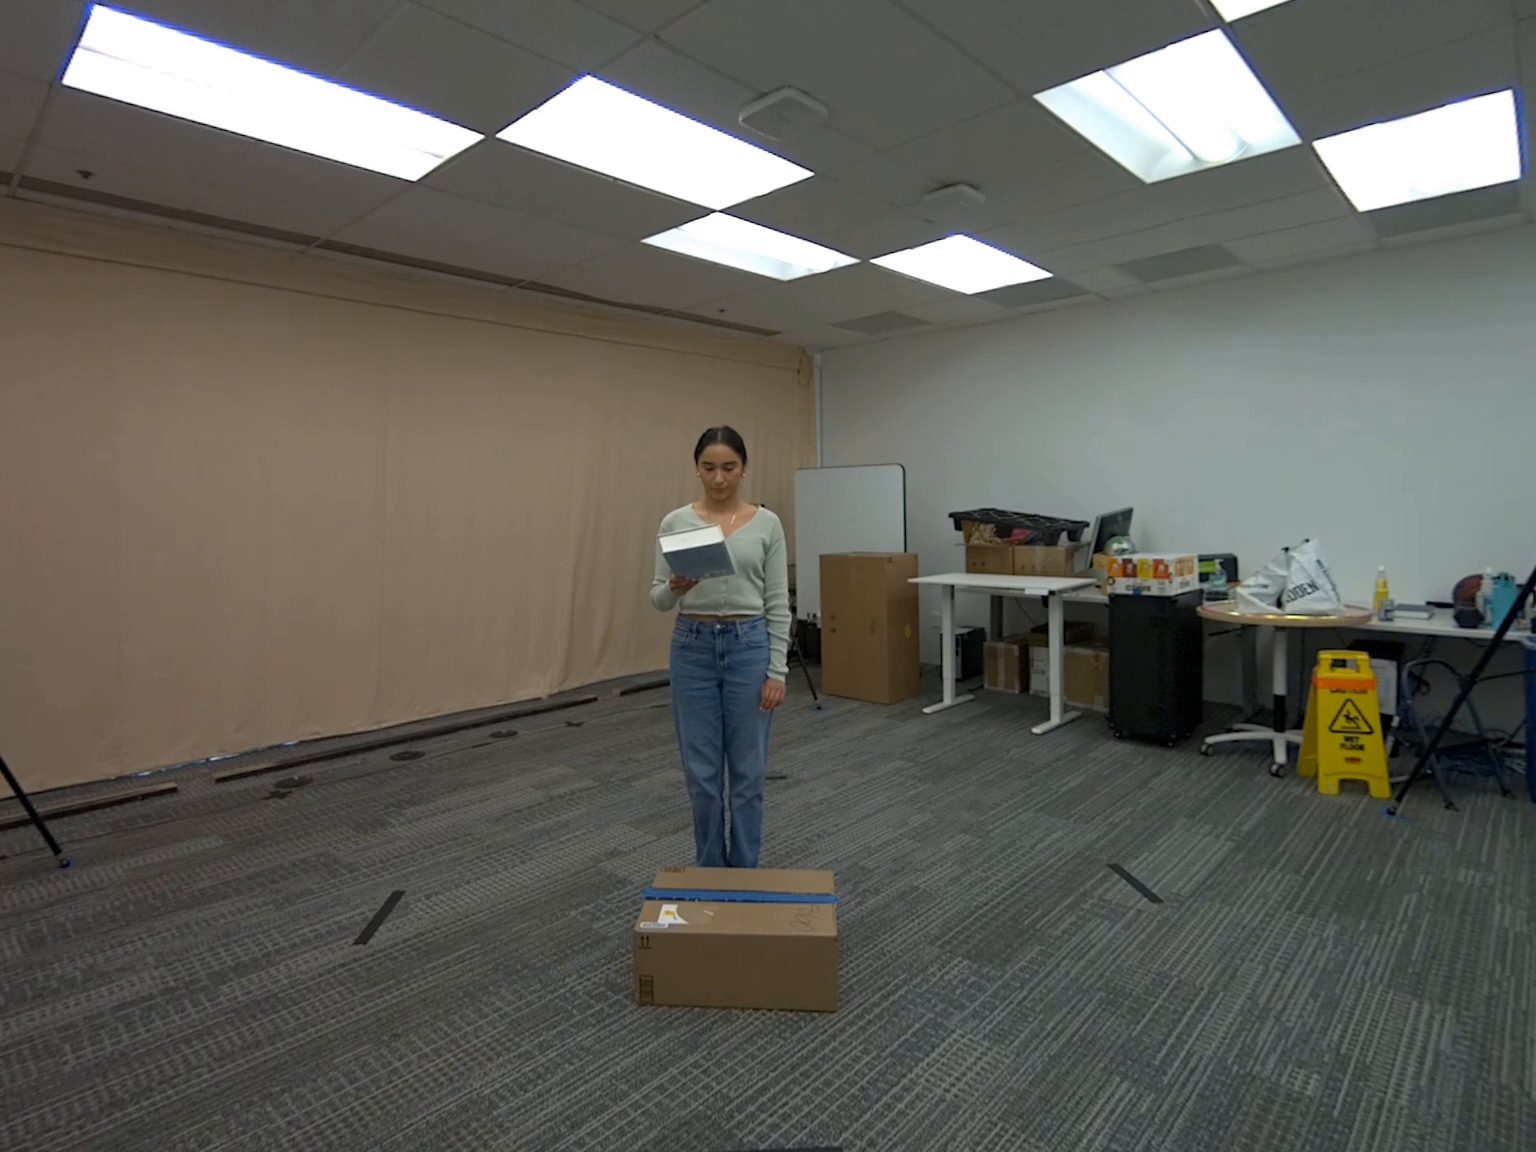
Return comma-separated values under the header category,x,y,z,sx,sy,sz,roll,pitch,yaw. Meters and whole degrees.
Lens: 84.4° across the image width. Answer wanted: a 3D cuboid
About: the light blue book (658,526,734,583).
category,x,y,z,sx,sy,sz,roll,pitch,yaw
light blue book,-0.225,-0.061,2.551,0.192,0.060,0.256,-10,-22,2
